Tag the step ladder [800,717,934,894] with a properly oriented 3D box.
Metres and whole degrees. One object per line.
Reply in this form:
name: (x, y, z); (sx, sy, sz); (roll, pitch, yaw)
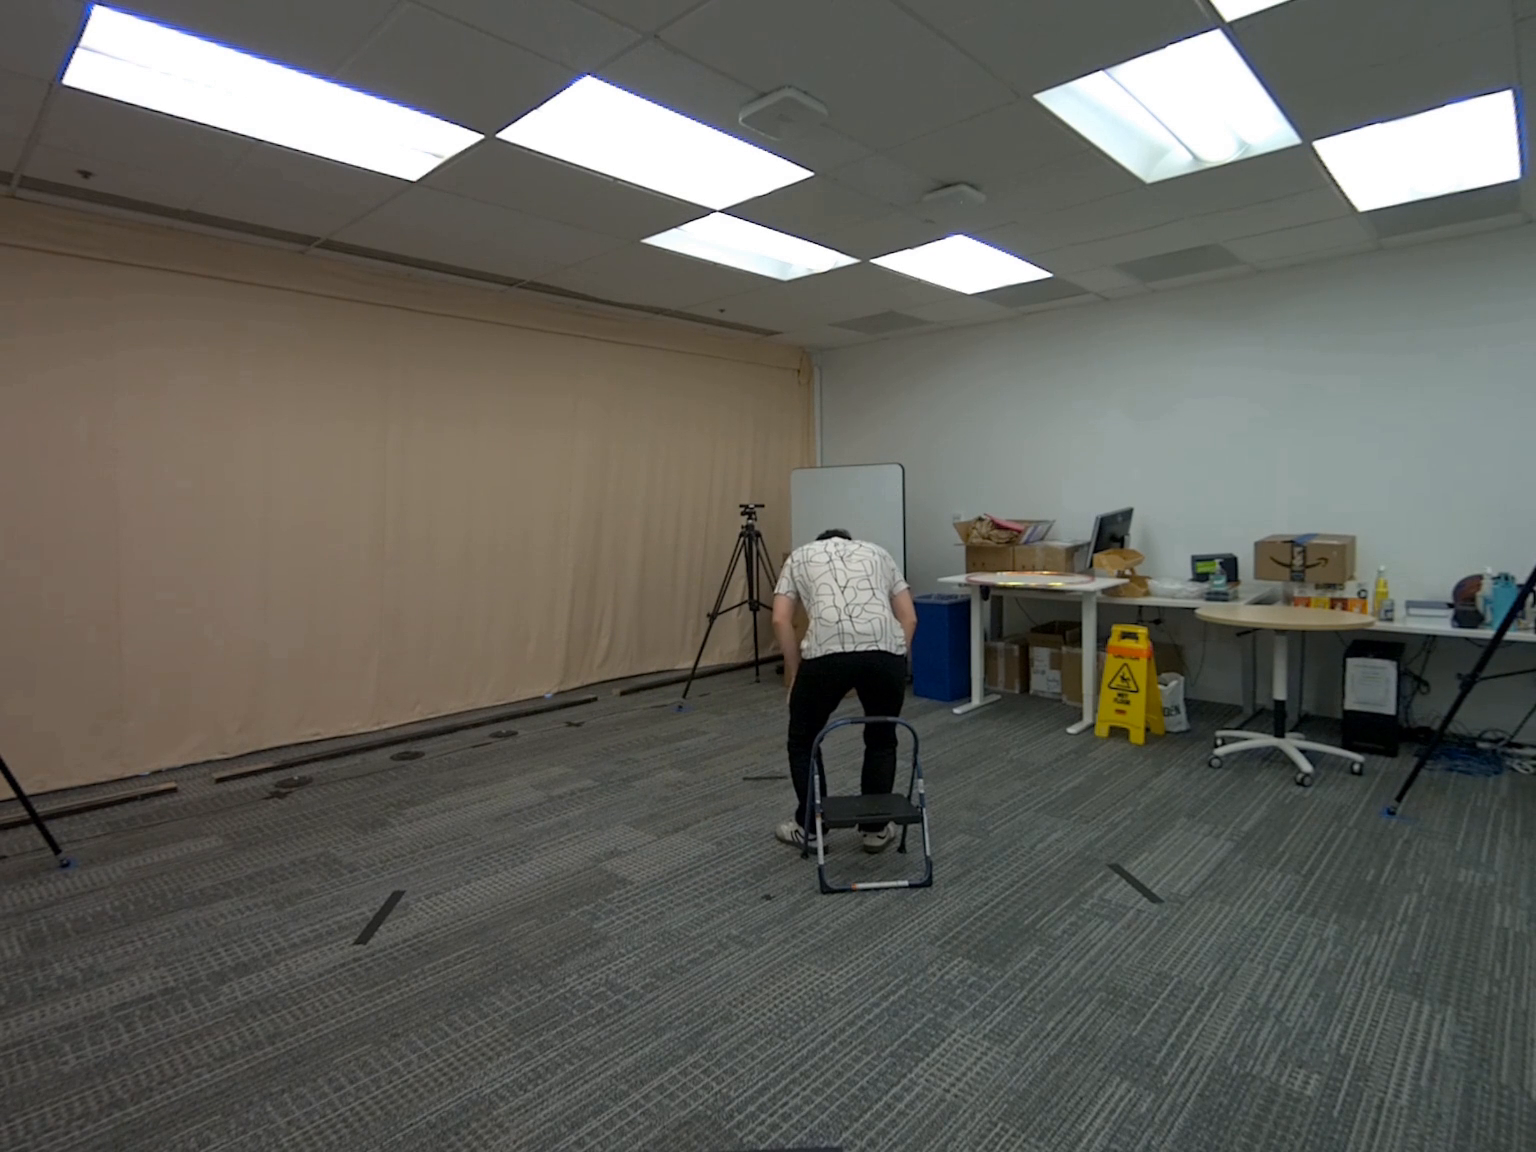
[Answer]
step ladder: (0.363, 0.815, 3.163); (0.427, 0.605, 0.353); (-2, 3, -8)
